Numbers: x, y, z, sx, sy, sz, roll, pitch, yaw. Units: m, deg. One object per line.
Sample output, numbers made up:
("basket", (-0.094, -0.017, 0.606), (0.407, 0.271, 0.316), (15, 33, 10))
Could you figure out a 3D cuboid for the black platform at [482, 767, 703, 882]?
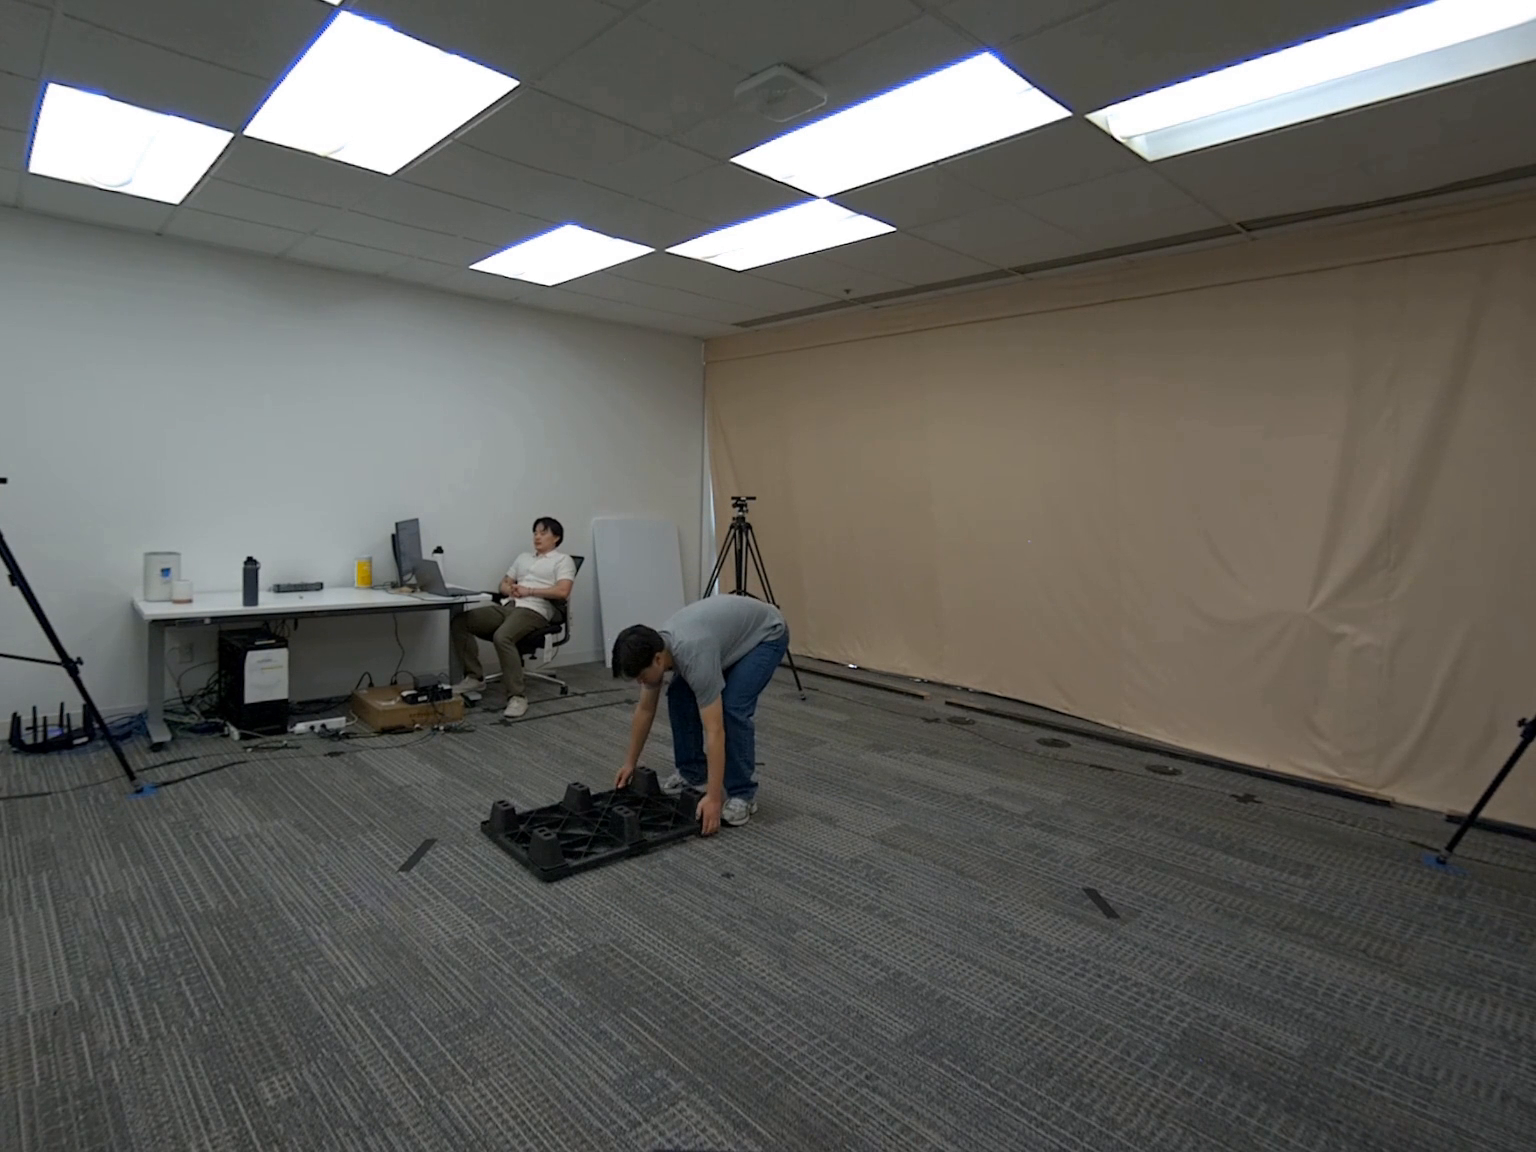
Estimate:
("black platform", (-0.699, 0.983, 3.466), (0.788, 0.143, 0.620), (-5, 7, -40))
